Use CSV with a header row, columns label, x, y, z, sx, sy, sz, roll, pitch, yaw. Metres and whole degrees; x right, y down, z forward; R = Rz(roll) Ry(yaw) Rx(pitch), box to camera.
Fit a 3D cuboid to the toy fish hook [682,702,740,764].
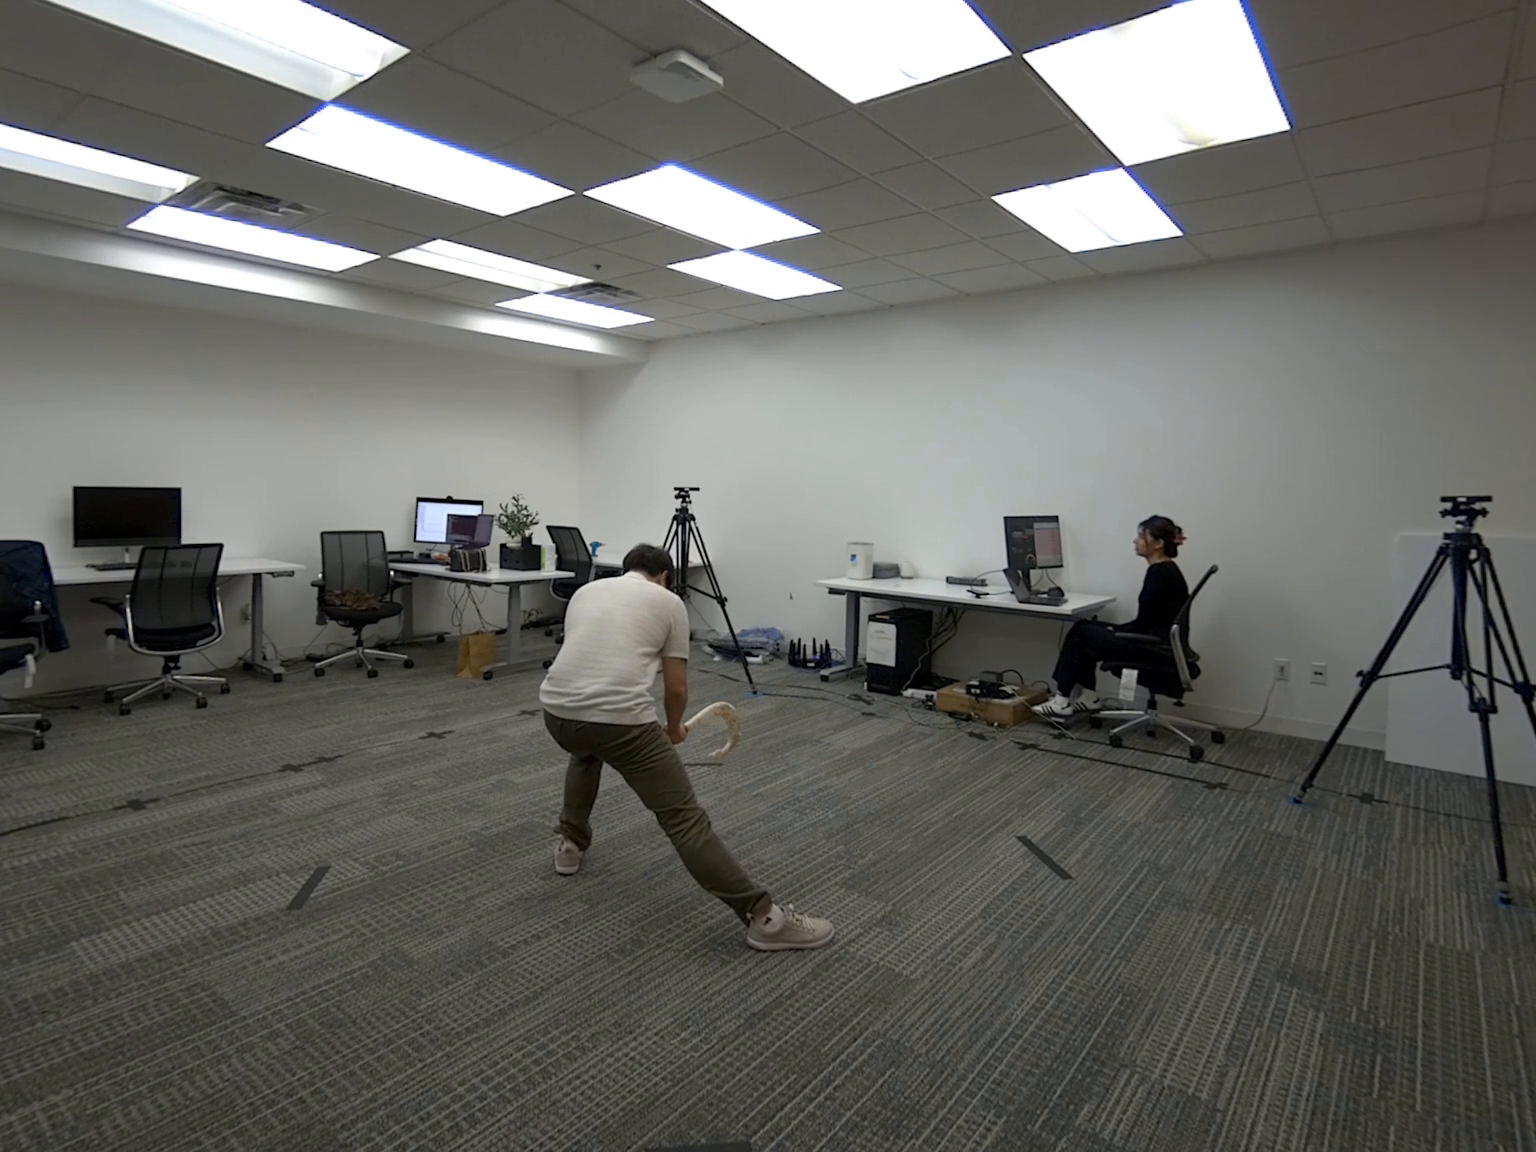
label,x,y,z,sx,sy,sz,roll,pitch,yaw
toy fish hook,-0.290,0.645,3.389,0.492,0.226,0.049,-8,-7,-45
